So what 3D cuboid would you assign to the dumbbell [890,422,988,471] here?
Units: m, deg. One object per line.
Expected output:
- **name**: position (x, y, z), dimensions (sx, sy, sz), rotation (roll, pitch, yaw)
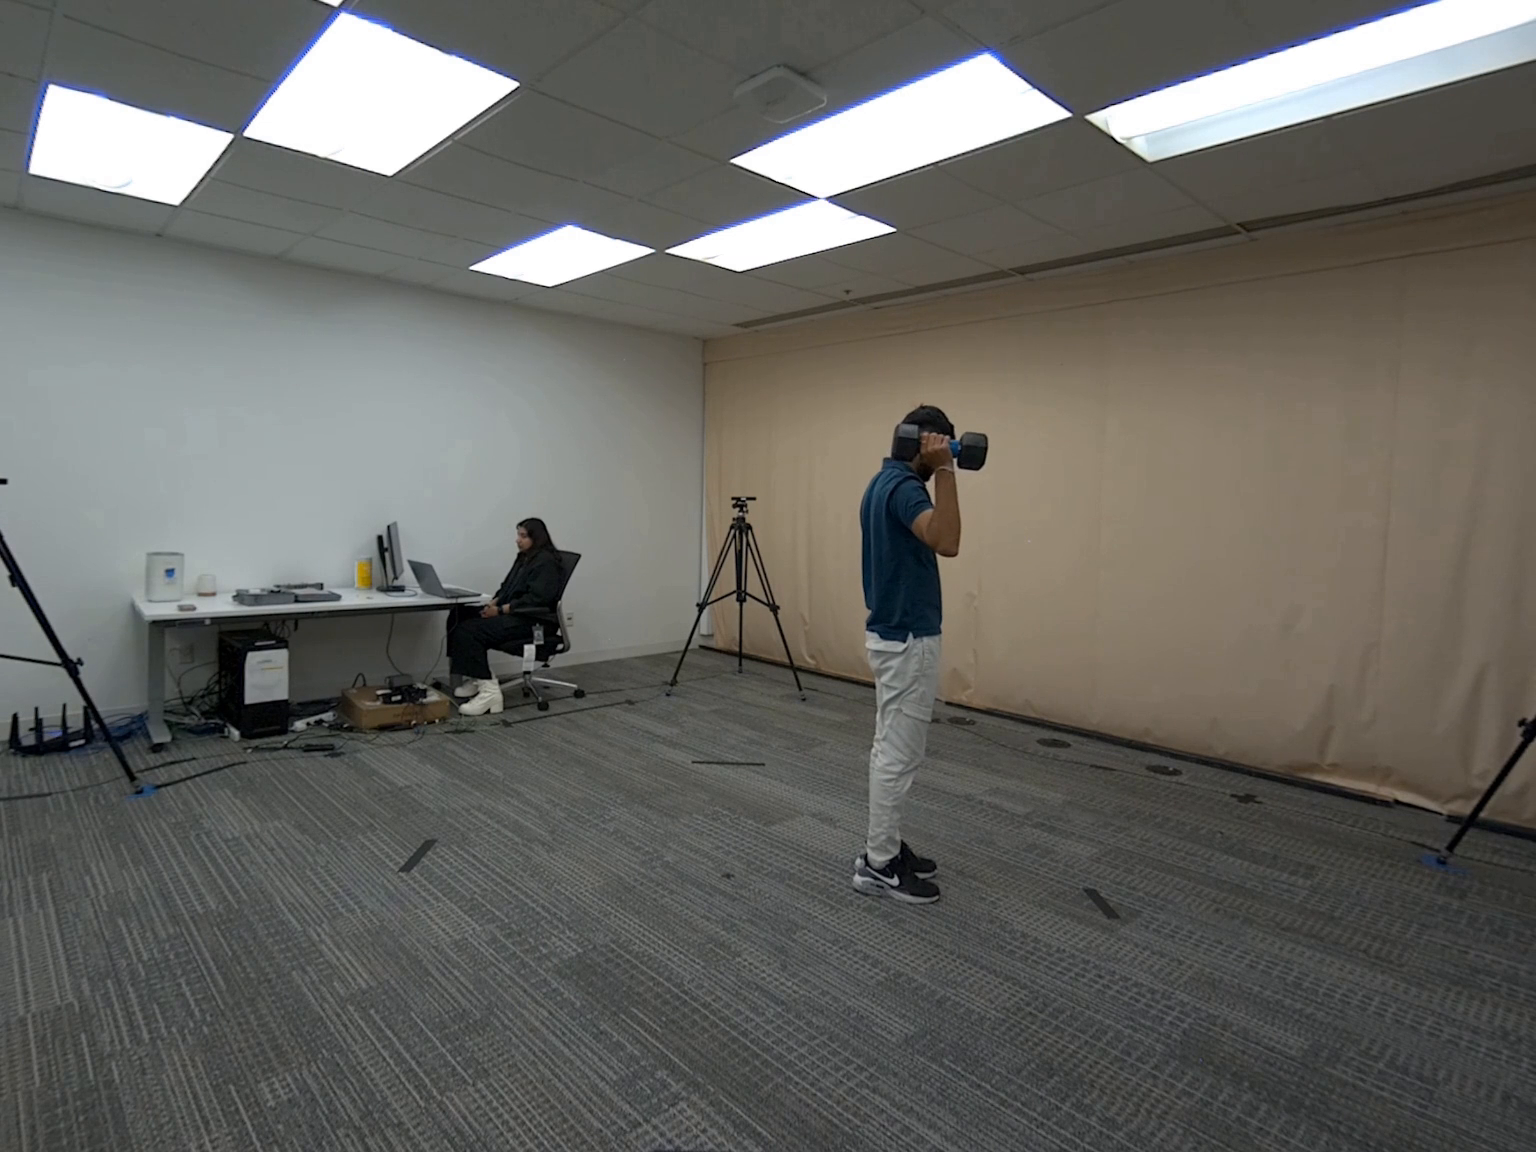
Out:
- **dumbbell**: position (0.540, -0.420, 2.693), dimensions (0.295, 0.109, 0.121), rotation (8, -11, 4)
